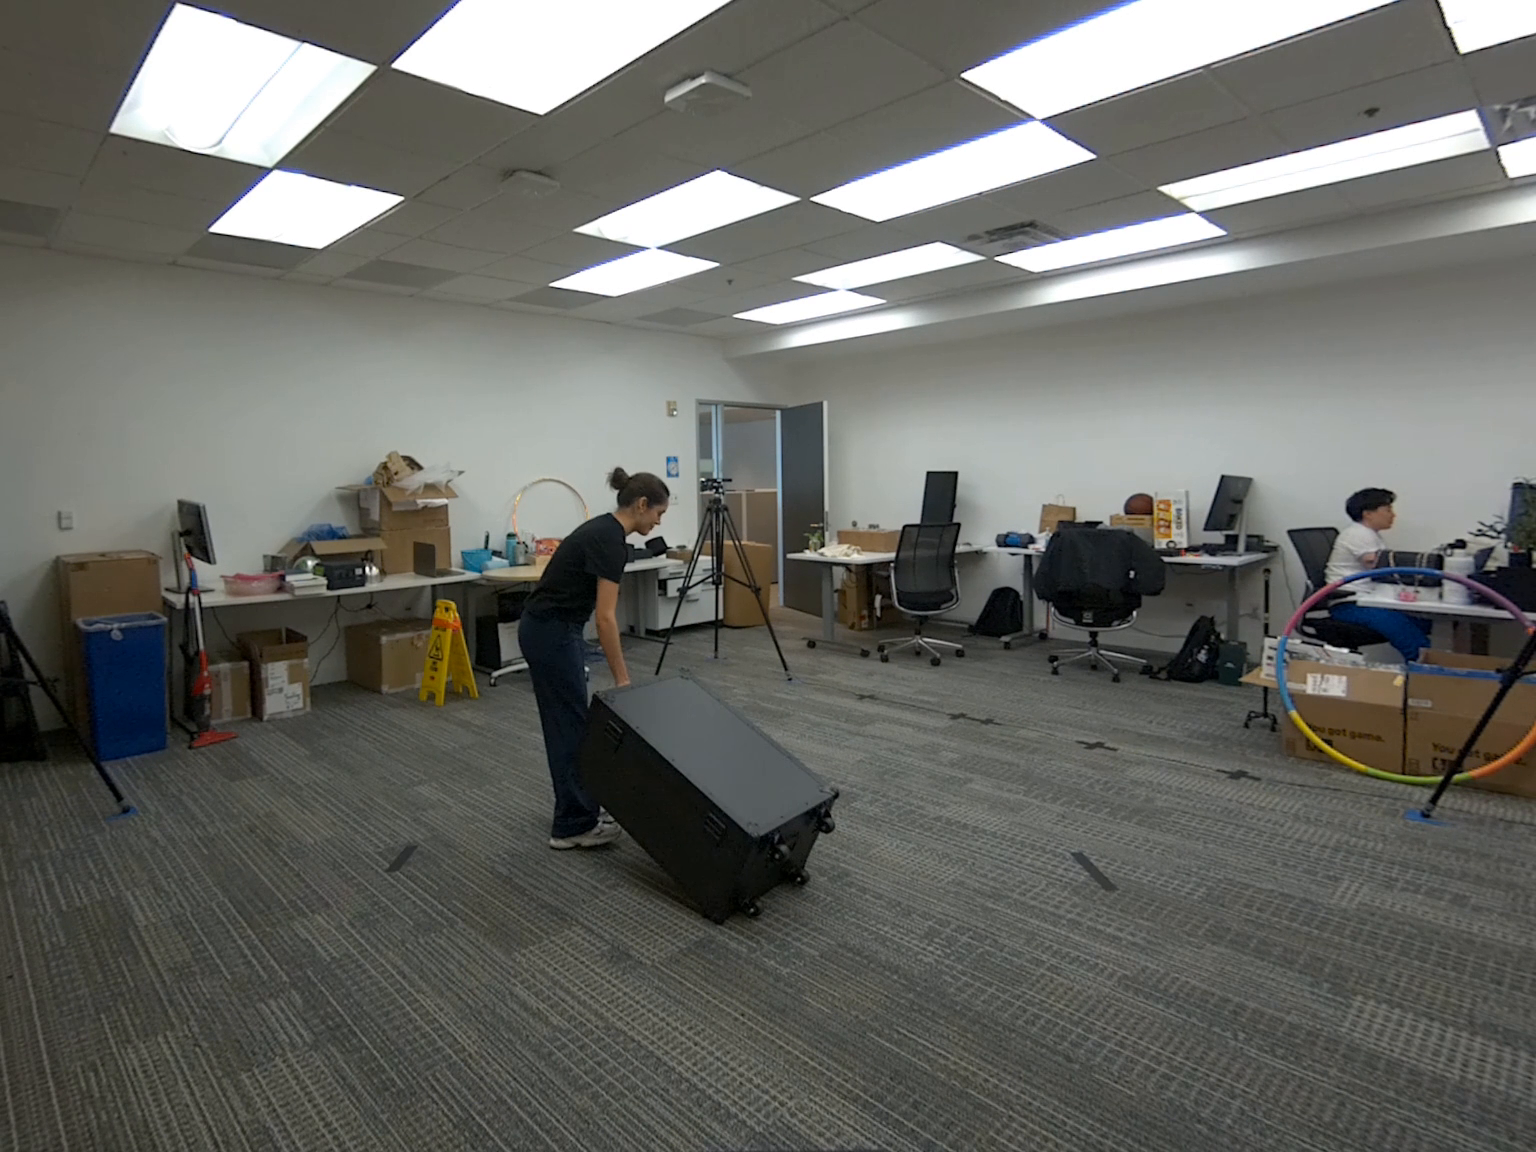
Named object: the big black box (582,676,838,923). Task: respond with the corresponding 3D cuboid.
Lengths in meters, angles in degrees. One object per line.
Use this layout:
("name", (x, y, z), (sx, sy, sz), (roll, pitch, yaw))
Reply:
("big black box", (-0.224, 0.754, 3.006), (0.892, 0.392, 0.508), (33, 23, 31))
